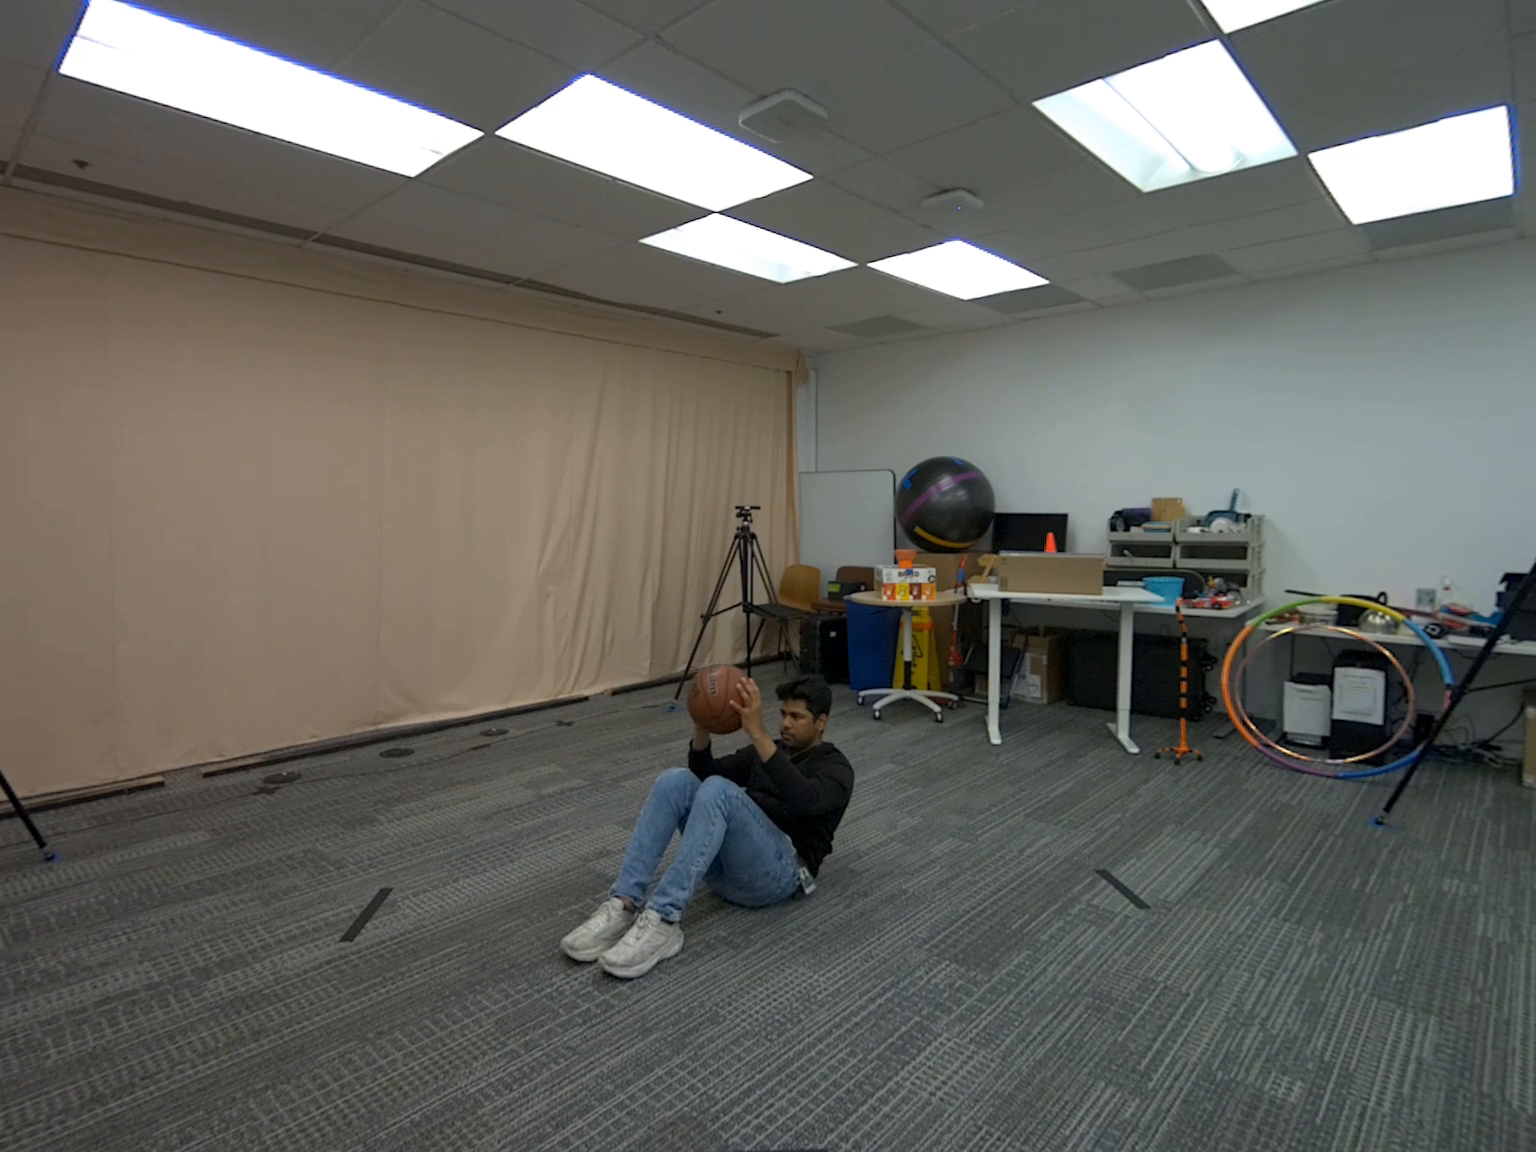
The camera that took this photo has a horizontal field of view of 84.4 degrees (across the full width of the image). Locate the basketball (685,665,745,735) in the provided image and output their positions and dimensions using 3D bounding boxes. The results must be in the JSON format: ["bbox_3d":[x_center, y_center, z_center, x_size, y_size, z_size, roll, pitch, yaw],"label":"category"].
[{"bbox_3d":[-0.149,0.427,2.897,0.236,0.235,0.237,0,4,-2],"label":"basketball"}]
